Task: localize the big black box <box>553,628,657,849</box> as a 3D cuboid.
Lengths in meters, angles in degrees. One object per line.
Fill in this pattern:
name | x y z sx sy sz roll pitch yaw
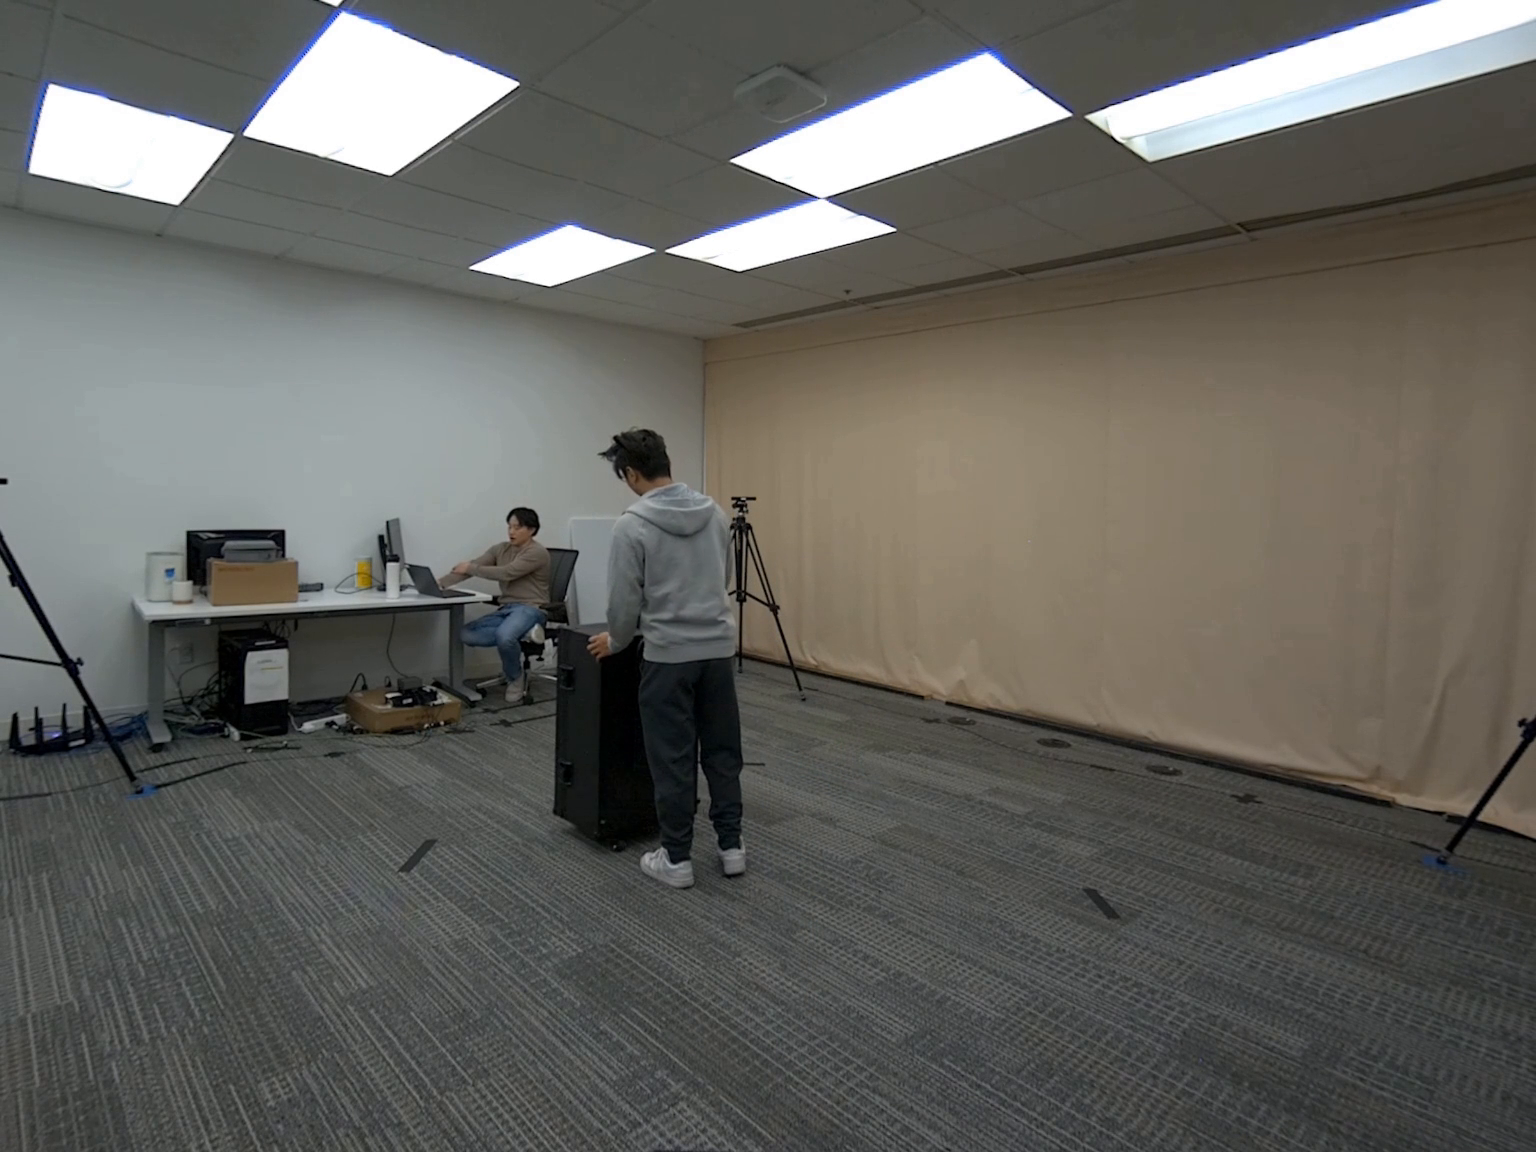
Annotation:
big black box | -0.587 0.580 3.476 0.509 0.859 0.406 -1 4 -41
